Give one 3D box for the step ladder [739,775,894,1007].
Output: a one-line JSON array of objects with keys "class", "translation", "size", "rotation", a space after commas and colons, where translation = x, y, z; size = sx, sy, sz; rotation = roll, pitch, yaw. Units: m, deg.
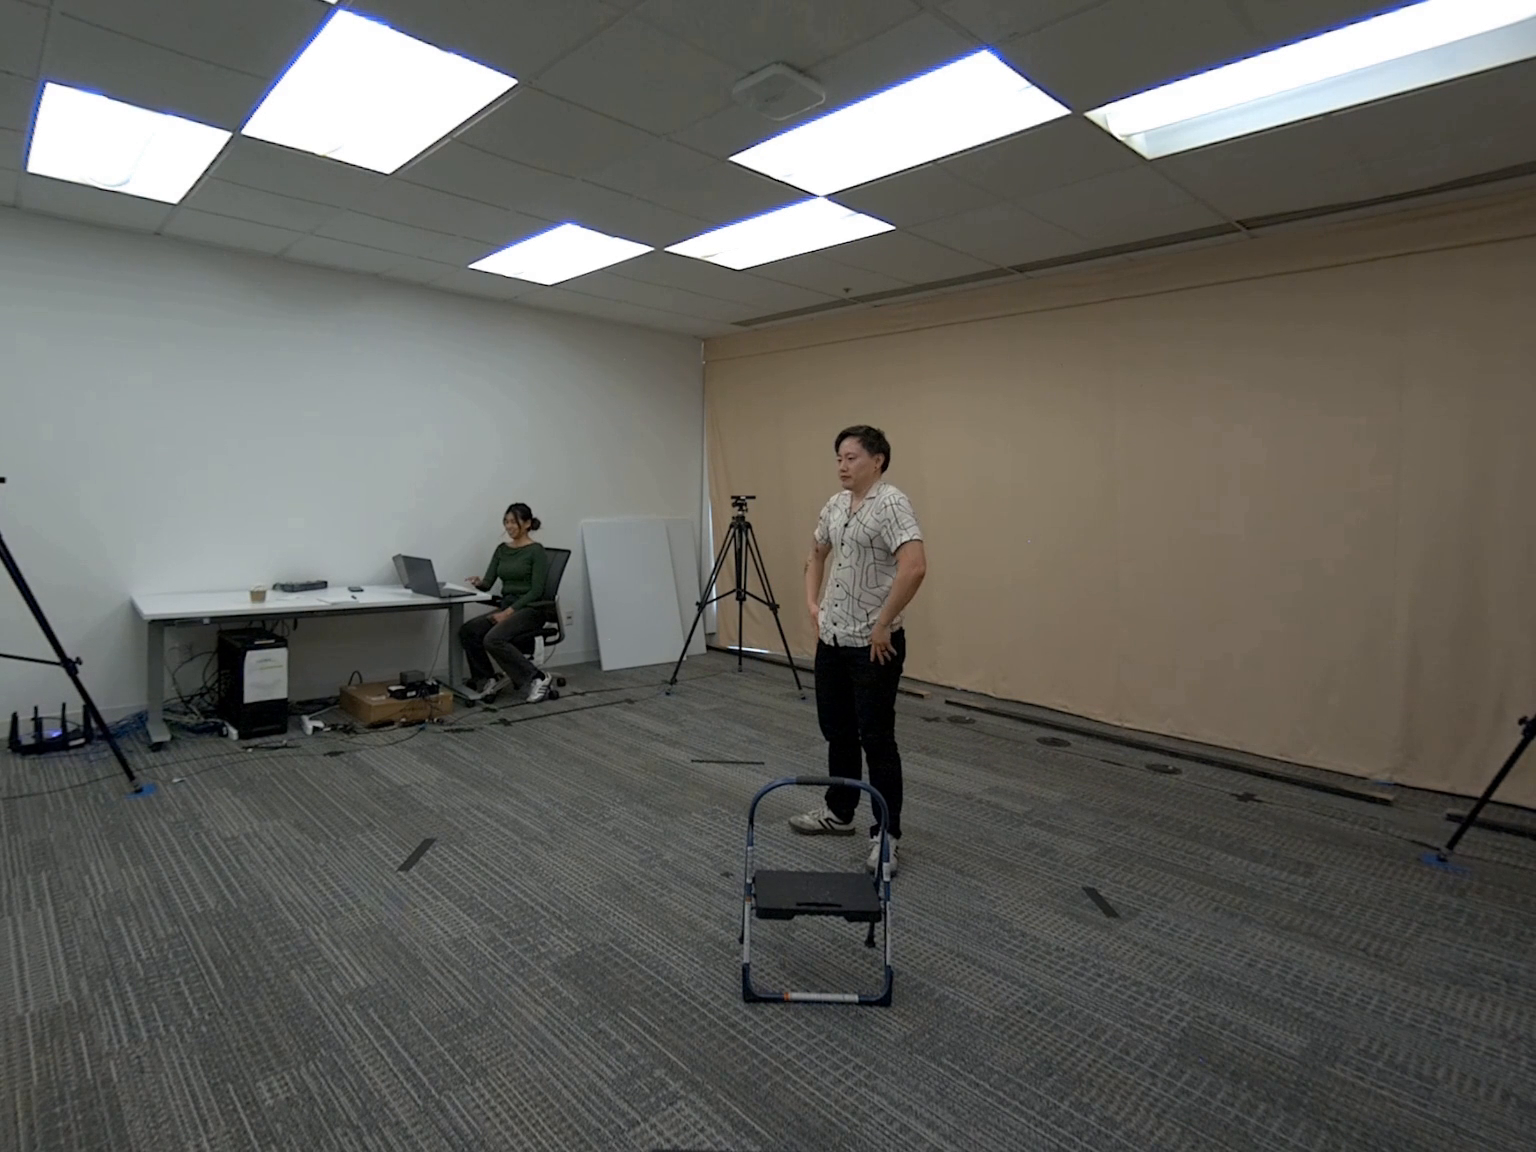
[{"class": "step ladder", "translation": [0.131, 0.869, 2.459], "size": [0.430, 0.604, 0.350], "rotation": [1, 3, -1]}]
